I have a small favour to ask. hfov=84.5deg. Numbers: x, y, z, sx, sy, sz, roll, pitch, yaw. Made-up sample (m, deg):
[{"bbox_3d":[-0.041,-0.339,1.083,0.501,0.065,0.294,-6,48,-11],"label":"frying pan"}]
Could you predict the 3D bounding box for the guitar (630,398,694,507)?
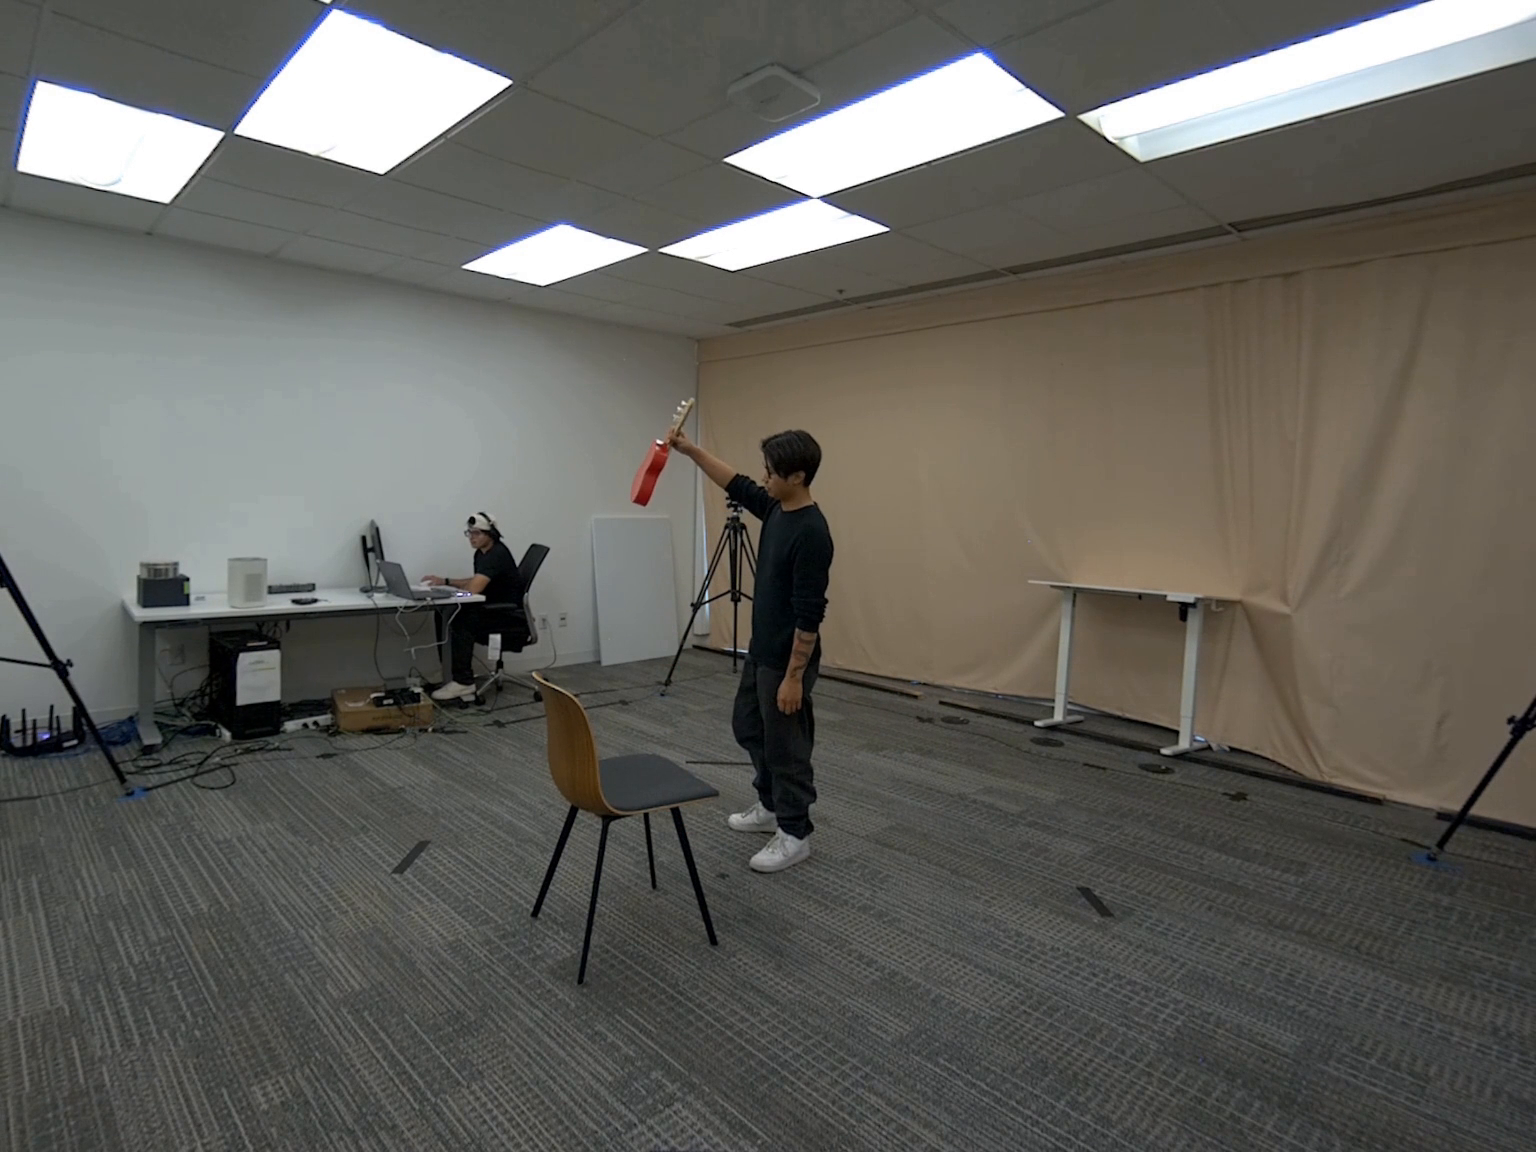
[{"bbox_3d":[-0.447,-0.520,3.440,0.069,0.495,0.197,20,20,-20],"label":"guitar"}]
